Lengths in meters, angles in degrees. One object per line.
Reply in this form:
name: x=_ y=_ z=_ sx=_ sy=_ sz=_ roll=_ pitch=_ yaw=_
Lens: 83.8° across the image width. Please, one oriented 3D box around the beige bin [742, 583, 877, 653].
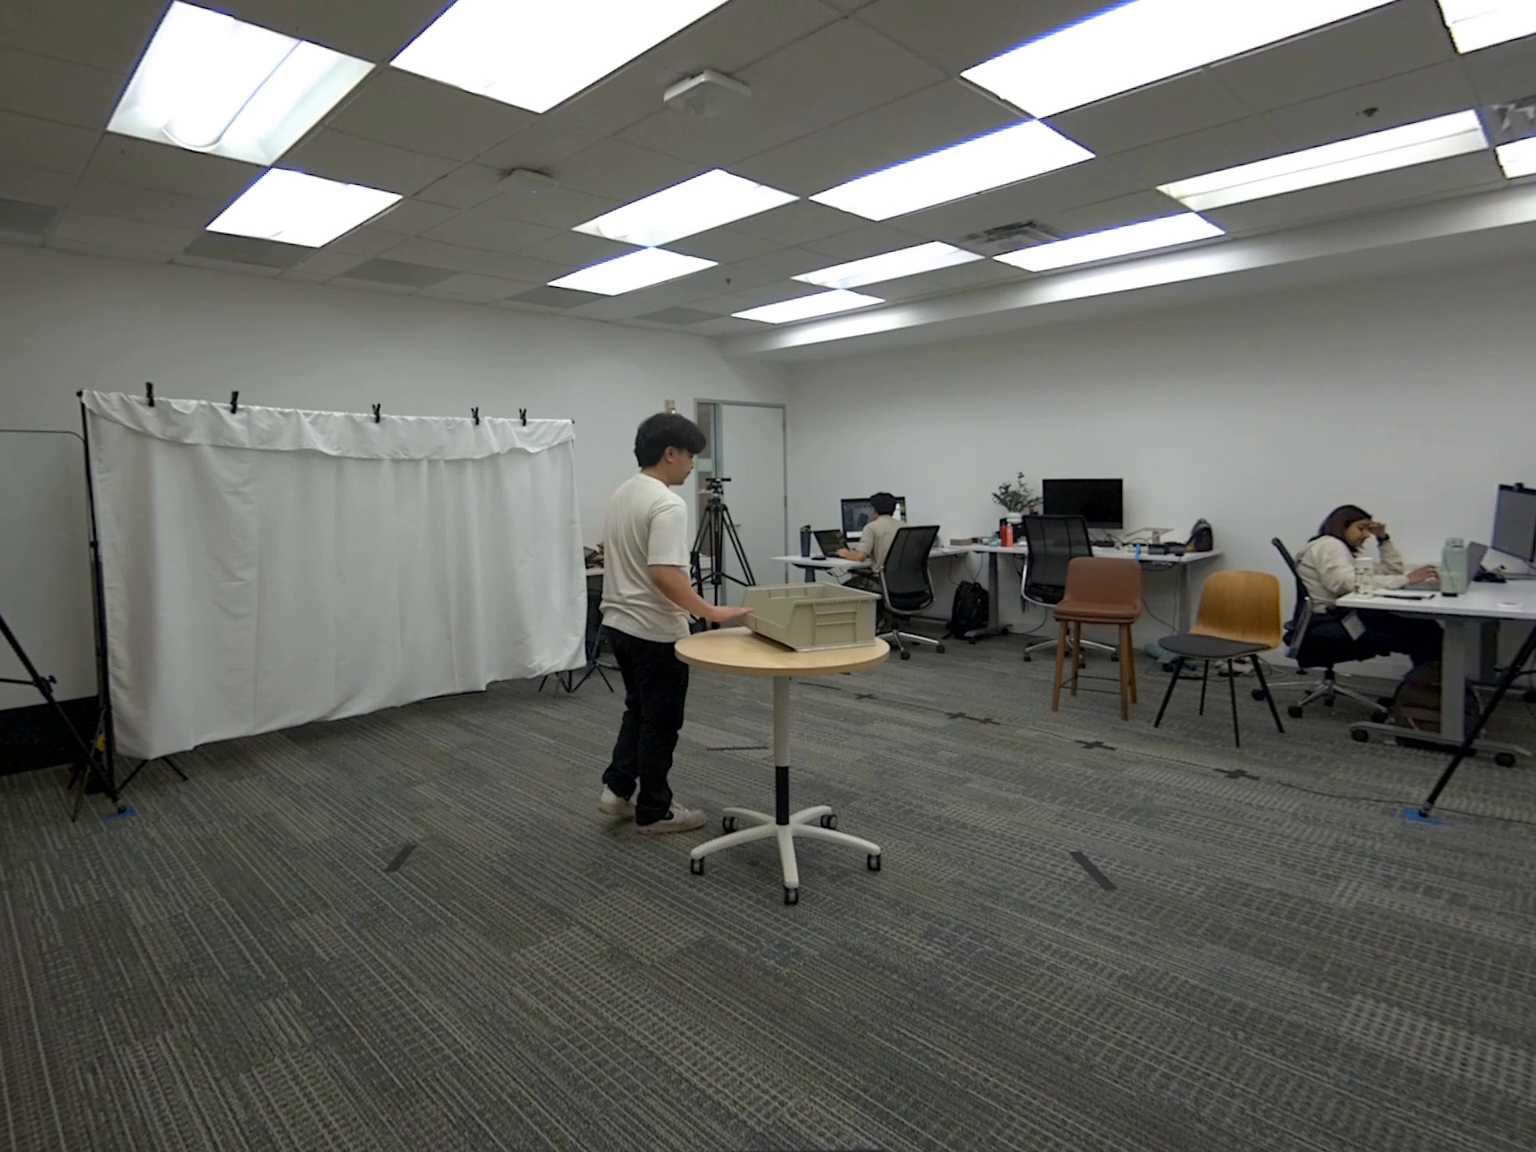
beige bin: x=0.145 y=0.148 z=3.151 sx=0.370 sy=0.188 sz=0.432 roll=-2 pitch=6 yaw=-21
